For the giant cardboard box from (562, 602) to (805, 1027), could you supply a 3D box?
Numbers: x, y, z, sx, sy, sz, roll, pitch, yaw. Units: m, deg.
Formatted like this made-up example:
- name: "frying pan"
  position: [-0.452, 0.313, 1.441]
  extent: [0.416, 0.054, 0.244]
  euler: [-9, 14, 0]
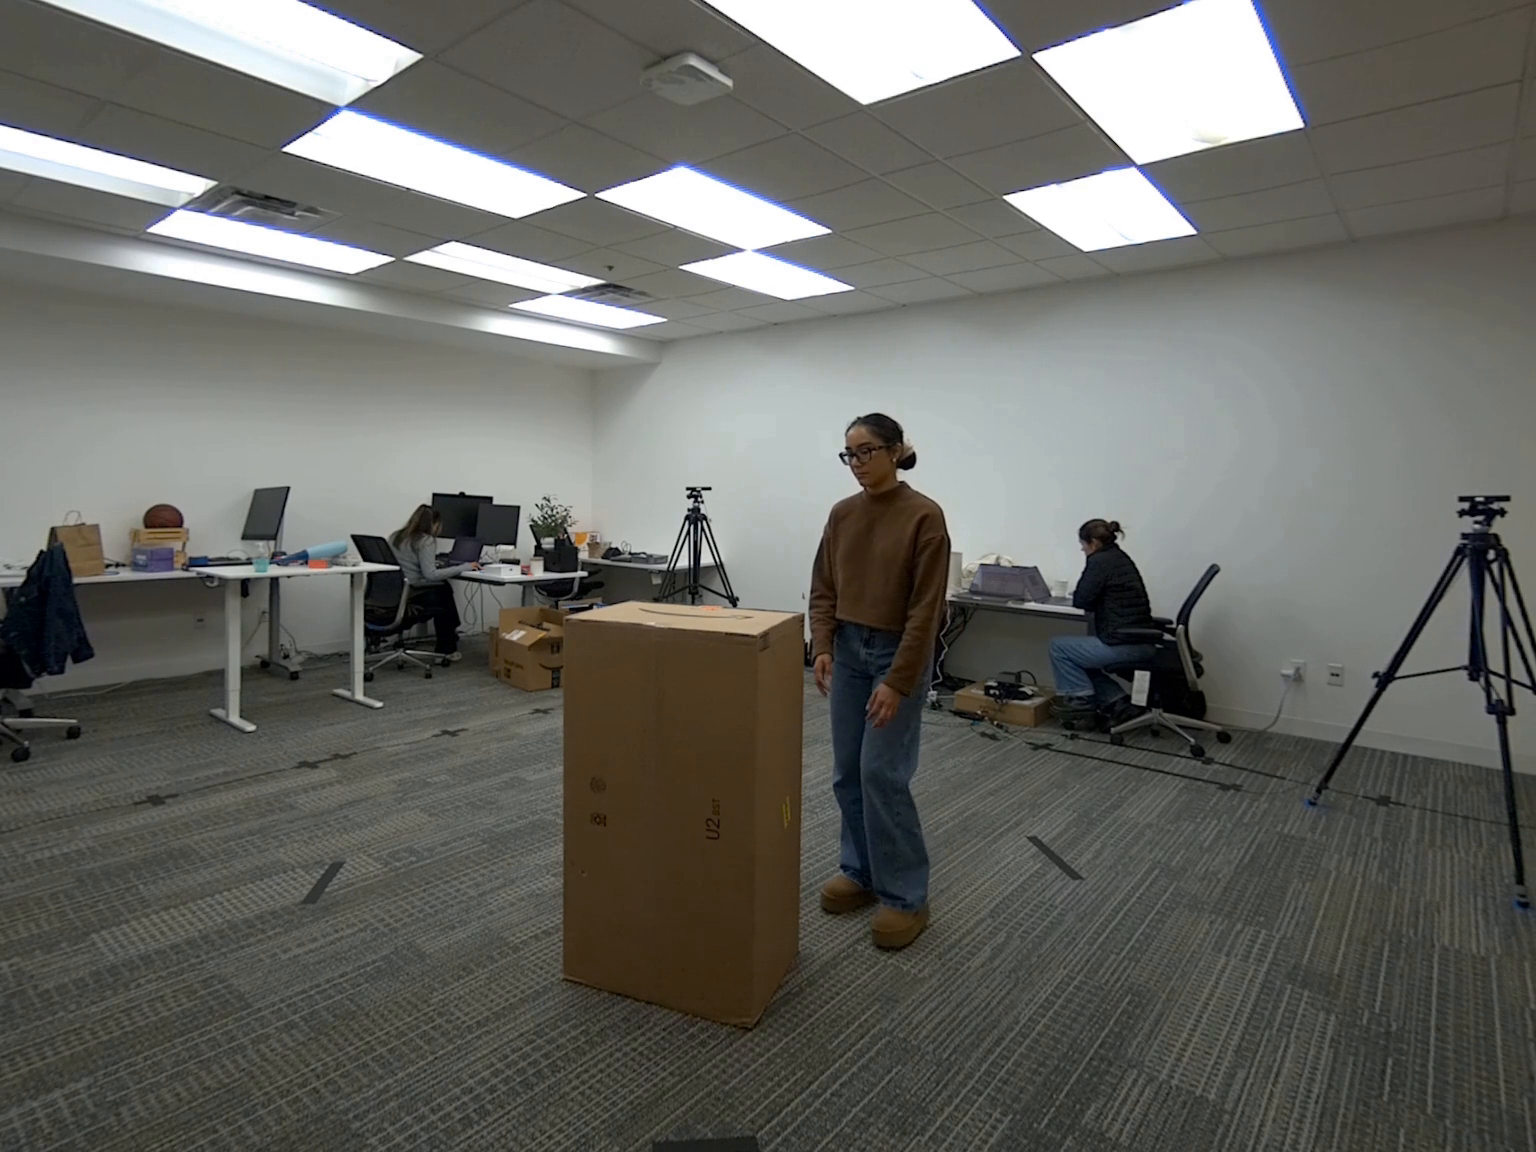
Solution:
- name: "giant cardboard box"
  position: [-0.245, 0.620, 2.448]
  extent: [0.591, 1.023, 0.418]
  euler: [2, 3, 21]
